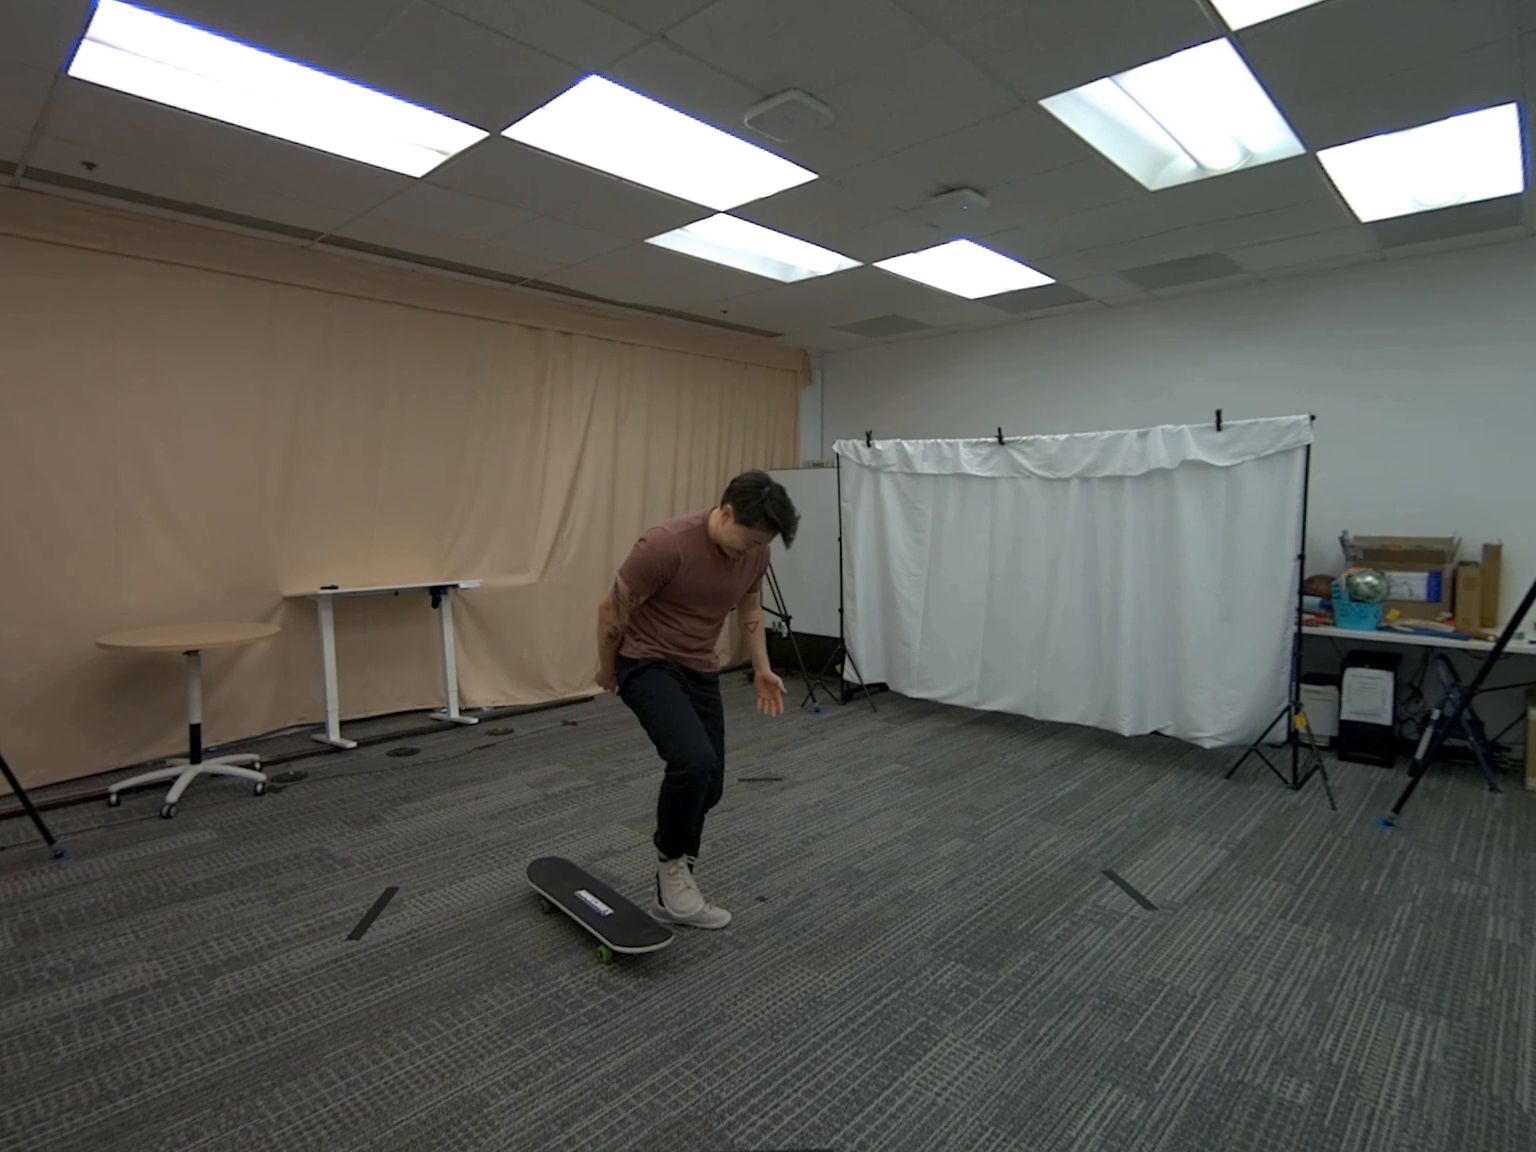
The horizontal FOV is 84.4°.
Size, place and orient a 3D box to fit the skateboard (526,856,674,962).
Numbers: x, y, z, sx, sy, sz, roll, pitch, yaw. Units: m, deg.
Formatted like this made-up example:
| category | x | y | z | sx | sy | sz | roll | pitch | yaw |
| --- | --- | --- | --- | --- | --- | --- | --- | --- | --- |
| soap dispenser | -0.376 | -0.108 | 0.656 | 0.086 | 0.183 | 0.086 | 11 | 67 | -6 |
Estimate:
| category | x | y | z | sx | sy | sz | roll | pitch | yaw |
| --- | --- | --- | --- | --- | --- | --- | --- | --- | --- |
| skateboard | -0.572 | 1.112 | 2.769 | 0.188 | 0.110 | 0.811 | -4 | 6 | -40 |
